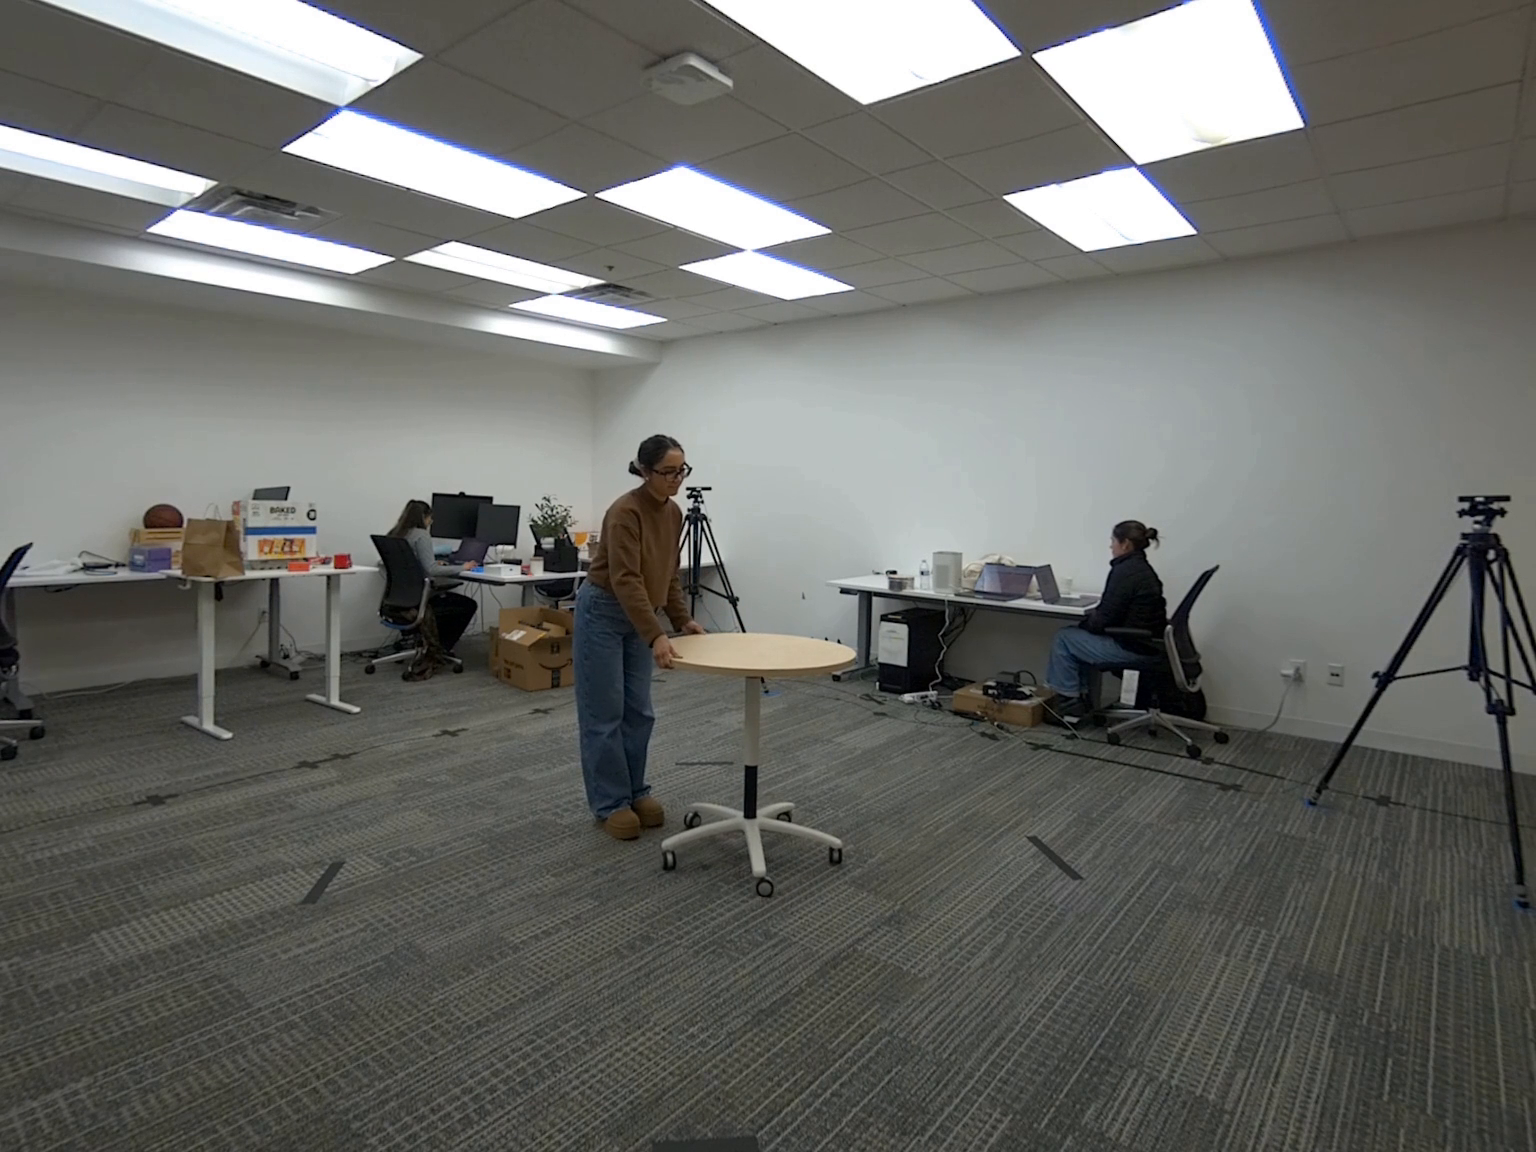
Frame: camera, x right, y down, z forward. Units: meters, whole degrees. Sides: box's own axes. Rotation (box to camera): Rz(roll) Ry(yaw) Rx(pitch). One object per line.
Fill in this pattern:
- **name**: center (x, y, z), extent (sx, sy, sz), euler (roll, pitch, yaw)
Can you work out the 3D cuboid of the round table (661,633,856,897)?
- **round table**: center (-0.067, 0.668, 3.222), extent (0.763, 0.792, 0.767), euler (1, 4, -2)
